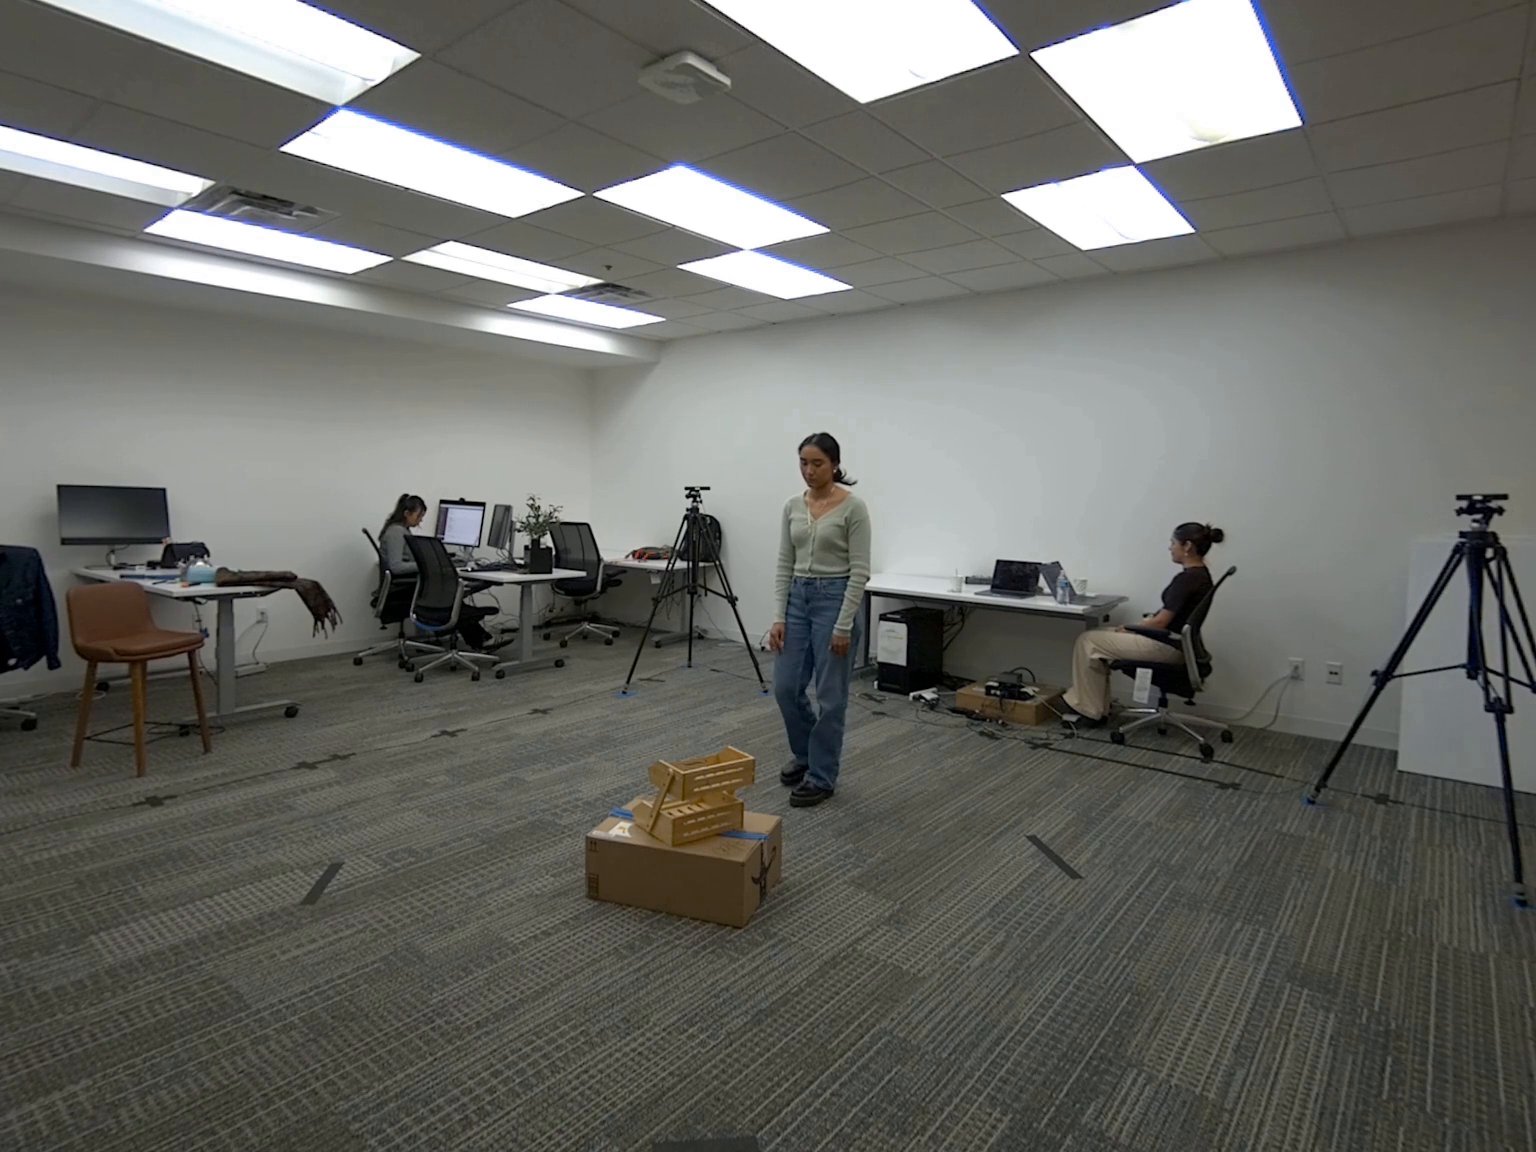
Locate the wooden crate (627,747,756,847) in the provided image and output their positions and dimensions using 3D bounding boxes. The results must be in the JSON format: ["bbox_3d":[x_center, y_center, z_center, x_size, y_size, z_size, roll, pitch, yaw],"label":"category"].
[{"bbox_3d":[-0.270,0.734,2.939,0.315,0.272,0.312,-2,6,-39],"label":"wooden crate"}]
